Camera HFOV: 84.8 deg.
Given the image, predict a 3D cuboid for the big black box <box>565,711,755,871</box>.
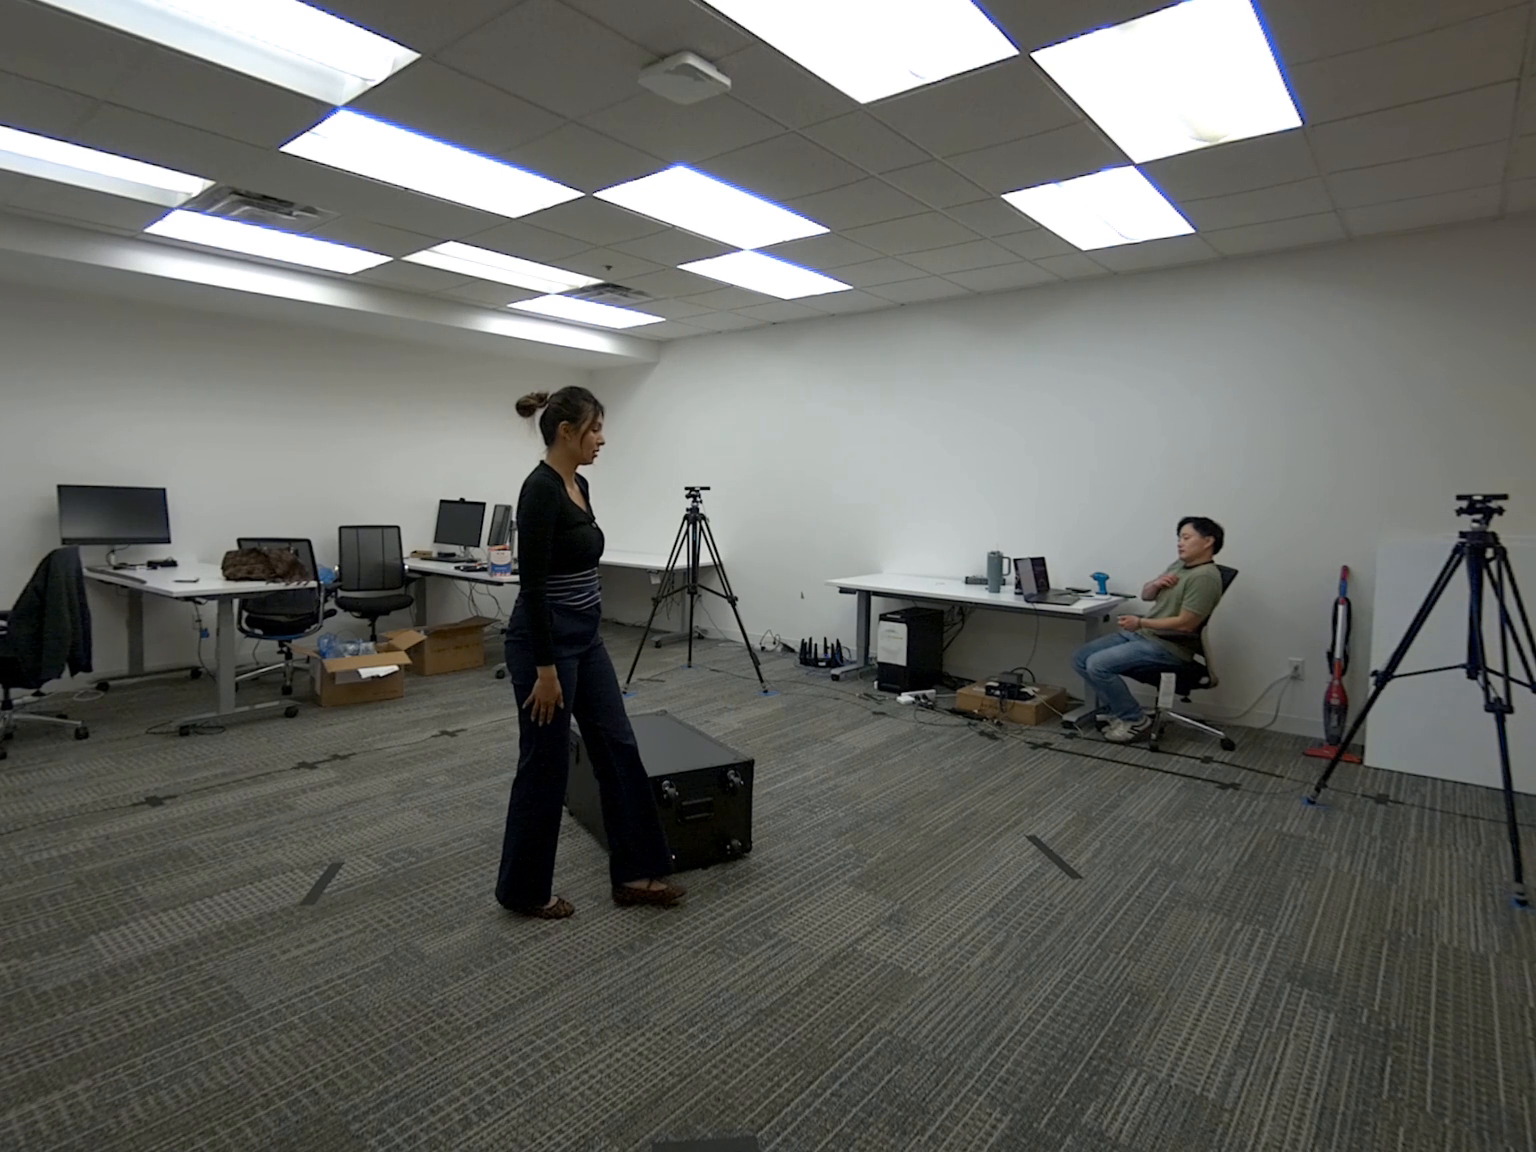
[{"bbox_3d":[-0.489,0.837,3.436,0.507,0.395,0.889,-2,6,-31],"label":"big black box"}]
